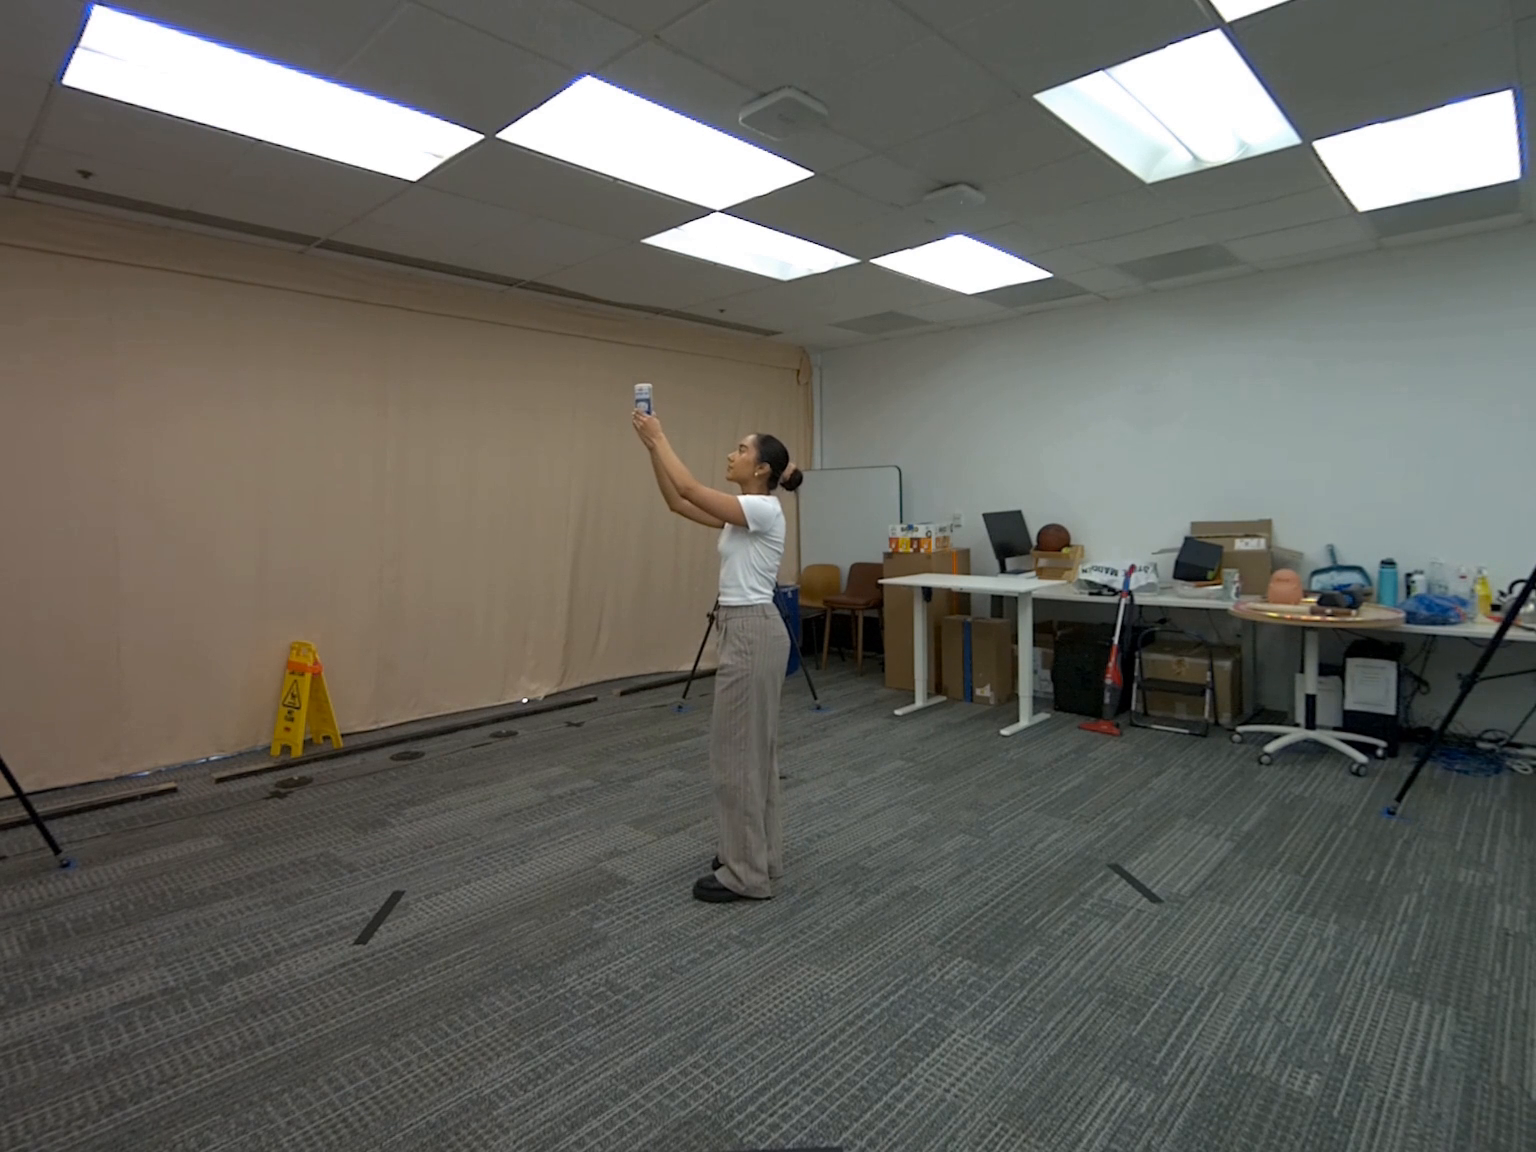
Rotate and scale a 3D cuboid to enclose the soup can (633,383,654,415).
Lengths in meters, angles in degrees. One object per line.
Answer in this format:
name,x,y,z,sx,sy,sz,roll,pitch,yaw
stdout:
soup can,-0.458,-0.652,3.119,0.067,0.121,0.067,-3,4,-2
